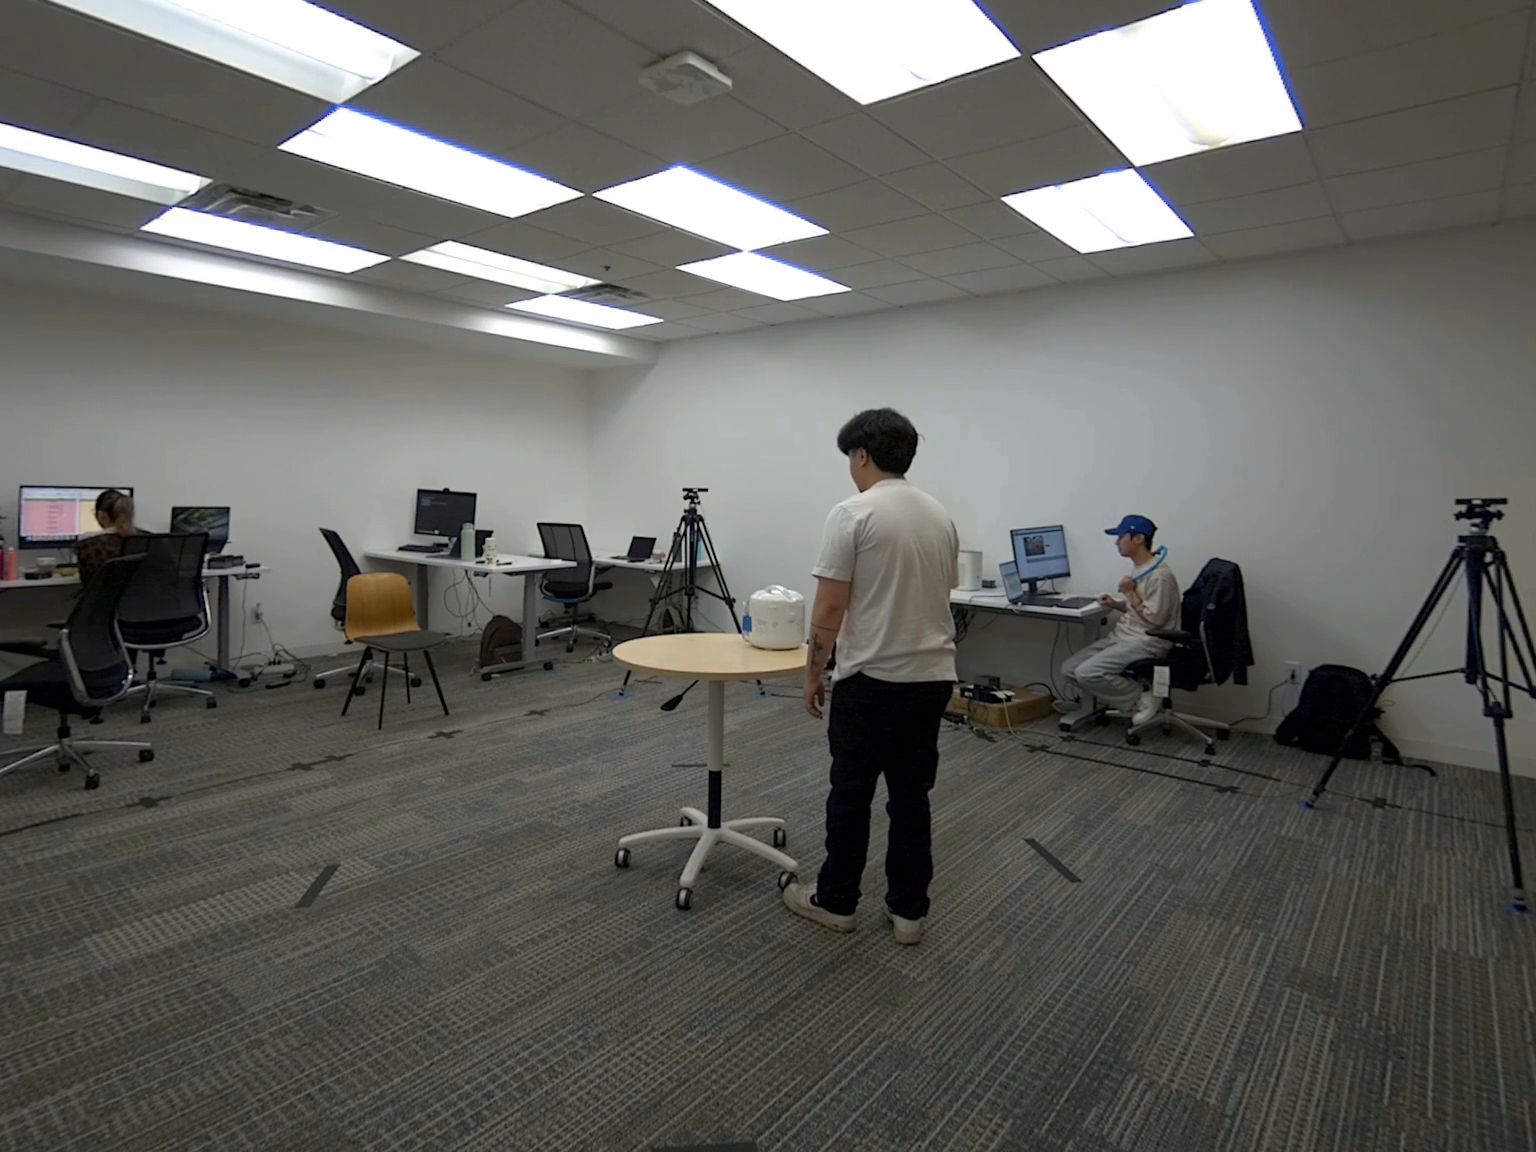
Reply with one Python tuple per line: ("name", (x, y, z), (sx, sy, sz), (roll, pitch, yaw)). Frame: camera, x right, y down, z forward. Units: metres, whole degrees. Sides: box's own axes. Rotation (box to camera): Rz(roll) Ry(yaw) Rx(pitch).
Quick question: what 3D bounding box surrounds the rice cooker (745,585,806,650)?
("rice cooker", (0.025, 0.149, 3.225), (0.212, 0.232, 0.227), (-2, 6, -29))
